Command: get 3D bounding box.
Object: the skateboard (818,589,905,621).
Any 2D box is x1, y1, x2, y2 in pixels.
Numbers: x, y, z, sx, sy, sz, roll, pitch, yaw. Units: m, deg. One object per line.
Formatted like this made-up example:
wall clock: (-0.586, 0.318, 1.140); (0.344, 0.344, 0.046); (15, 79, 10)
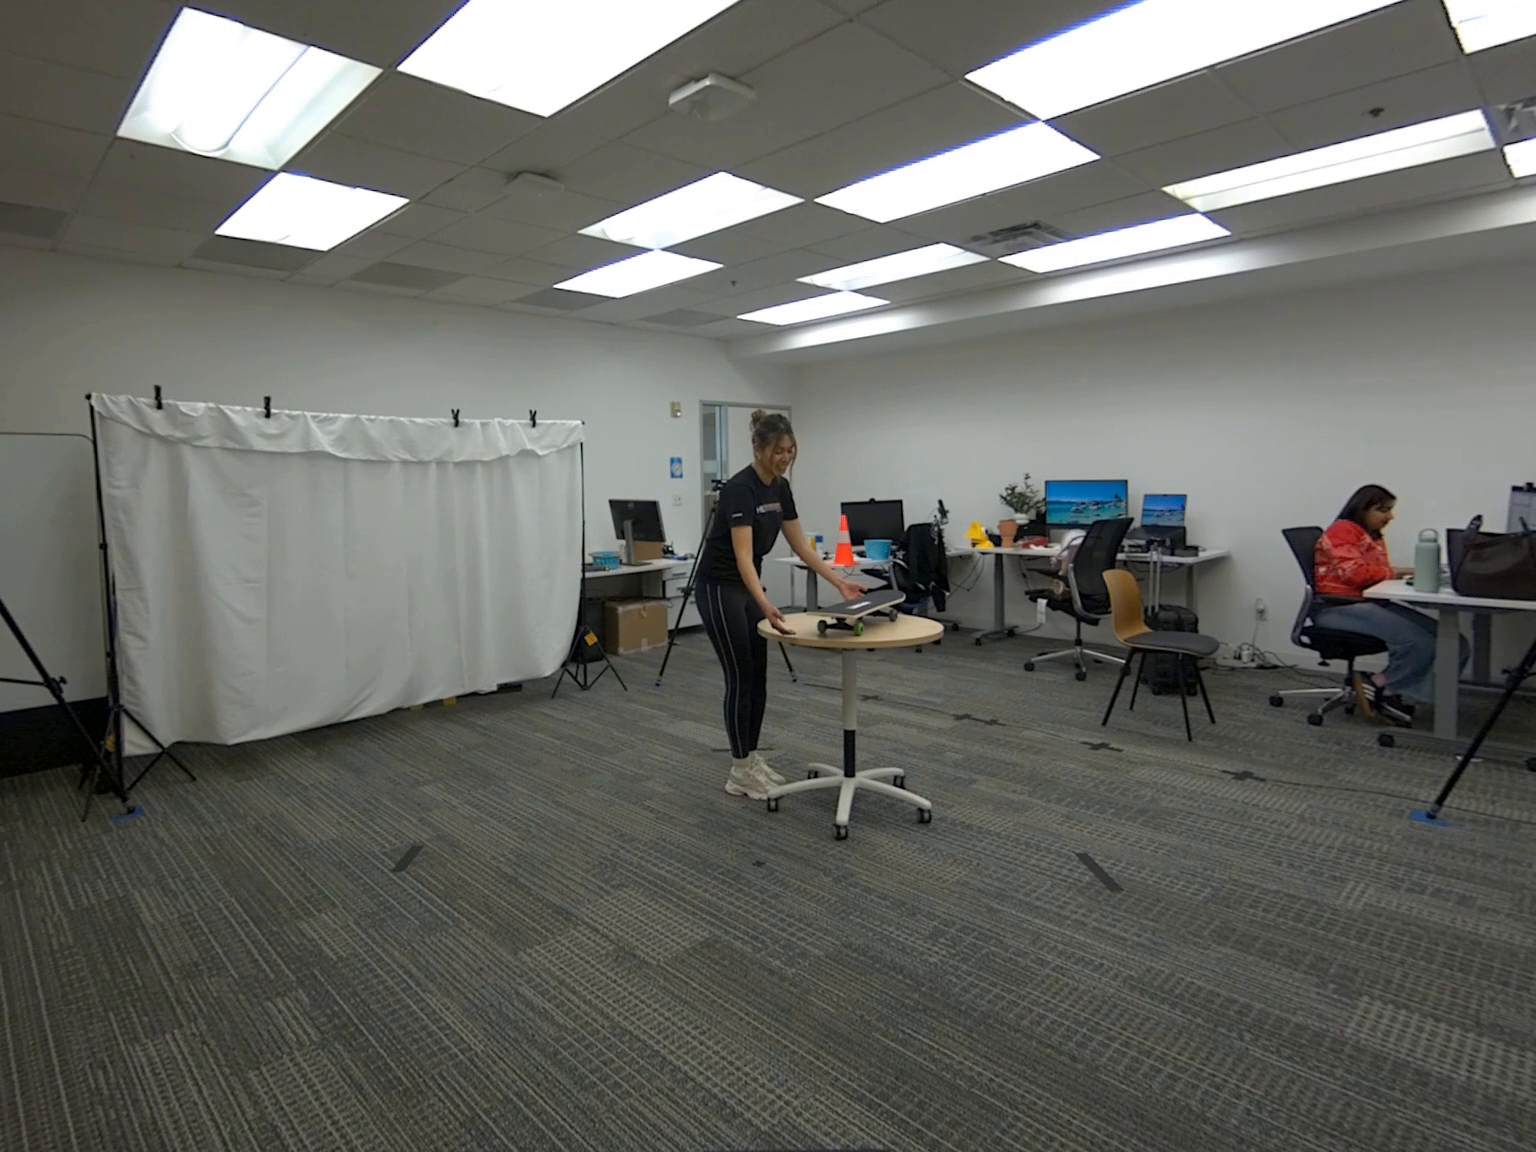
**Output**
skateboard: (0.365, 0.158, 3.538); (0.198, 0.110, 0.769); (2, 7, 29)
